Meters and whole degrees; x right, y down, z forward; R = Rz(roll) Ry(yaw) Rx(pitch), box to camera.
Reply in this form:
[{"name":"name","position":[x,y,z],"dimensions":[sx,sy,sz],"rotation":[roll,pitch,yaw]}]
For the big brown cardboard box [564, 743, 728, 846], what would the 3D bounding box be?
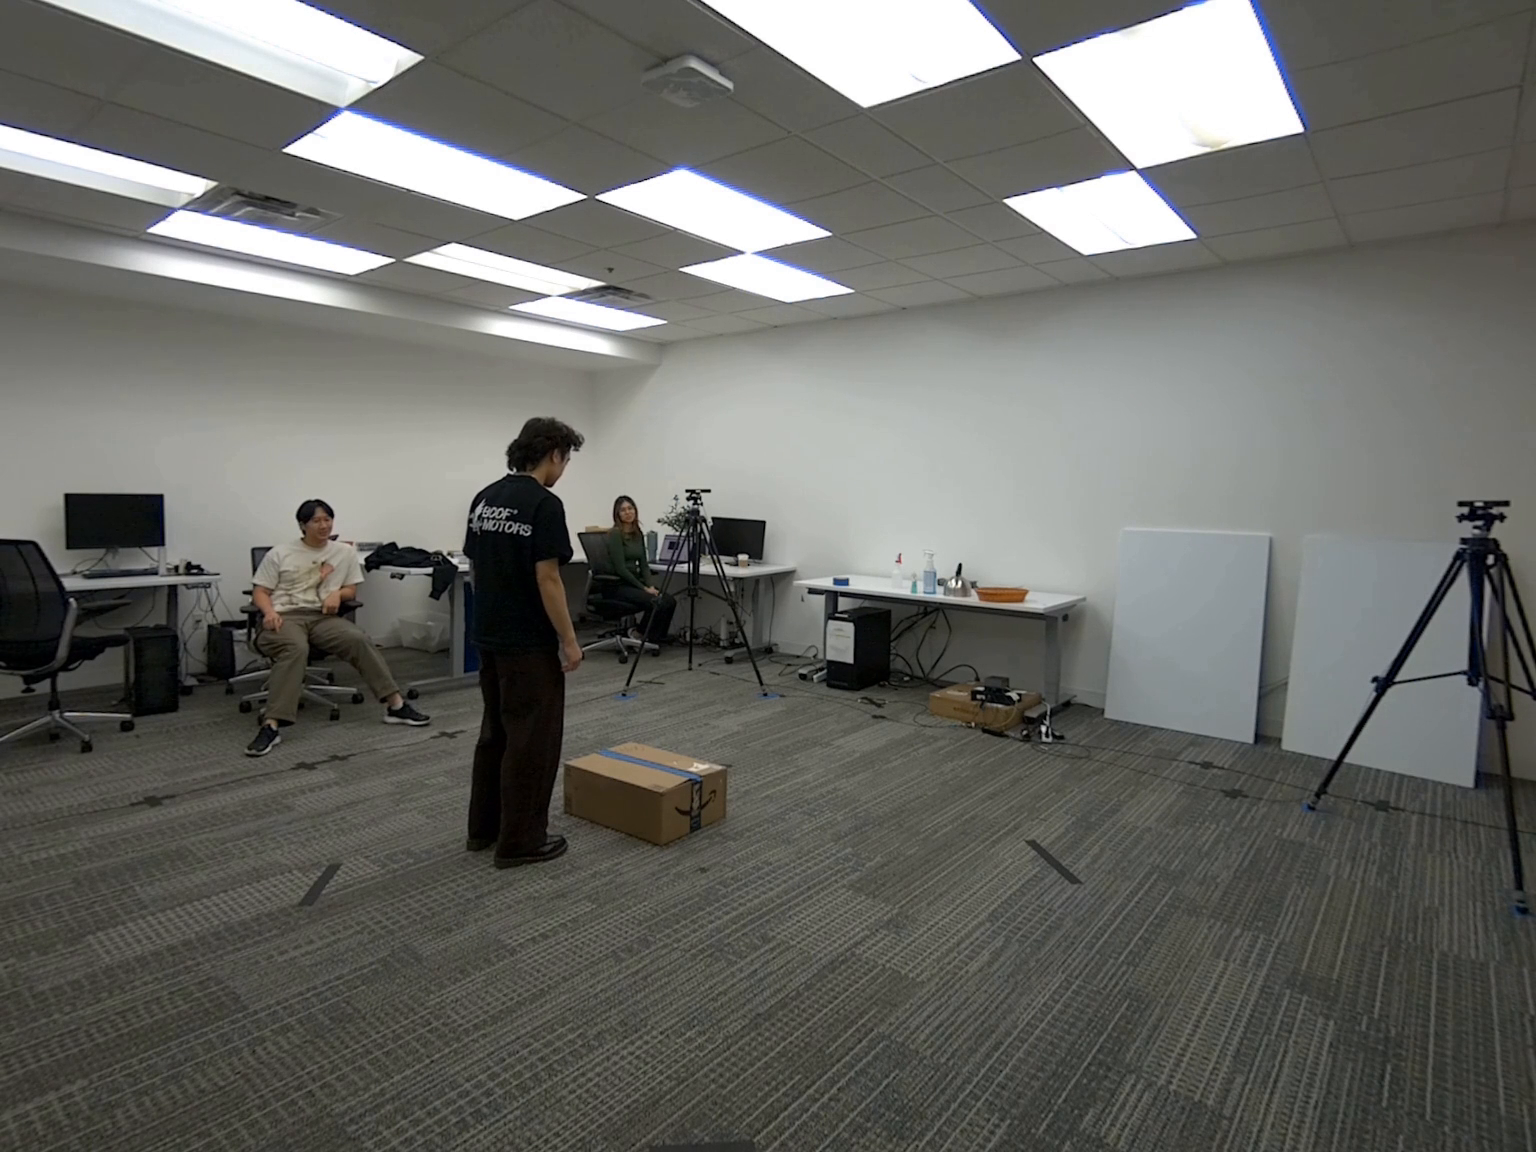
[{"name":"big brown cardboard box","position":[-0.533,0.906,3.623],"dimensions":[0.608,0.232,0.406],"rotation":[3,5,36]}]
